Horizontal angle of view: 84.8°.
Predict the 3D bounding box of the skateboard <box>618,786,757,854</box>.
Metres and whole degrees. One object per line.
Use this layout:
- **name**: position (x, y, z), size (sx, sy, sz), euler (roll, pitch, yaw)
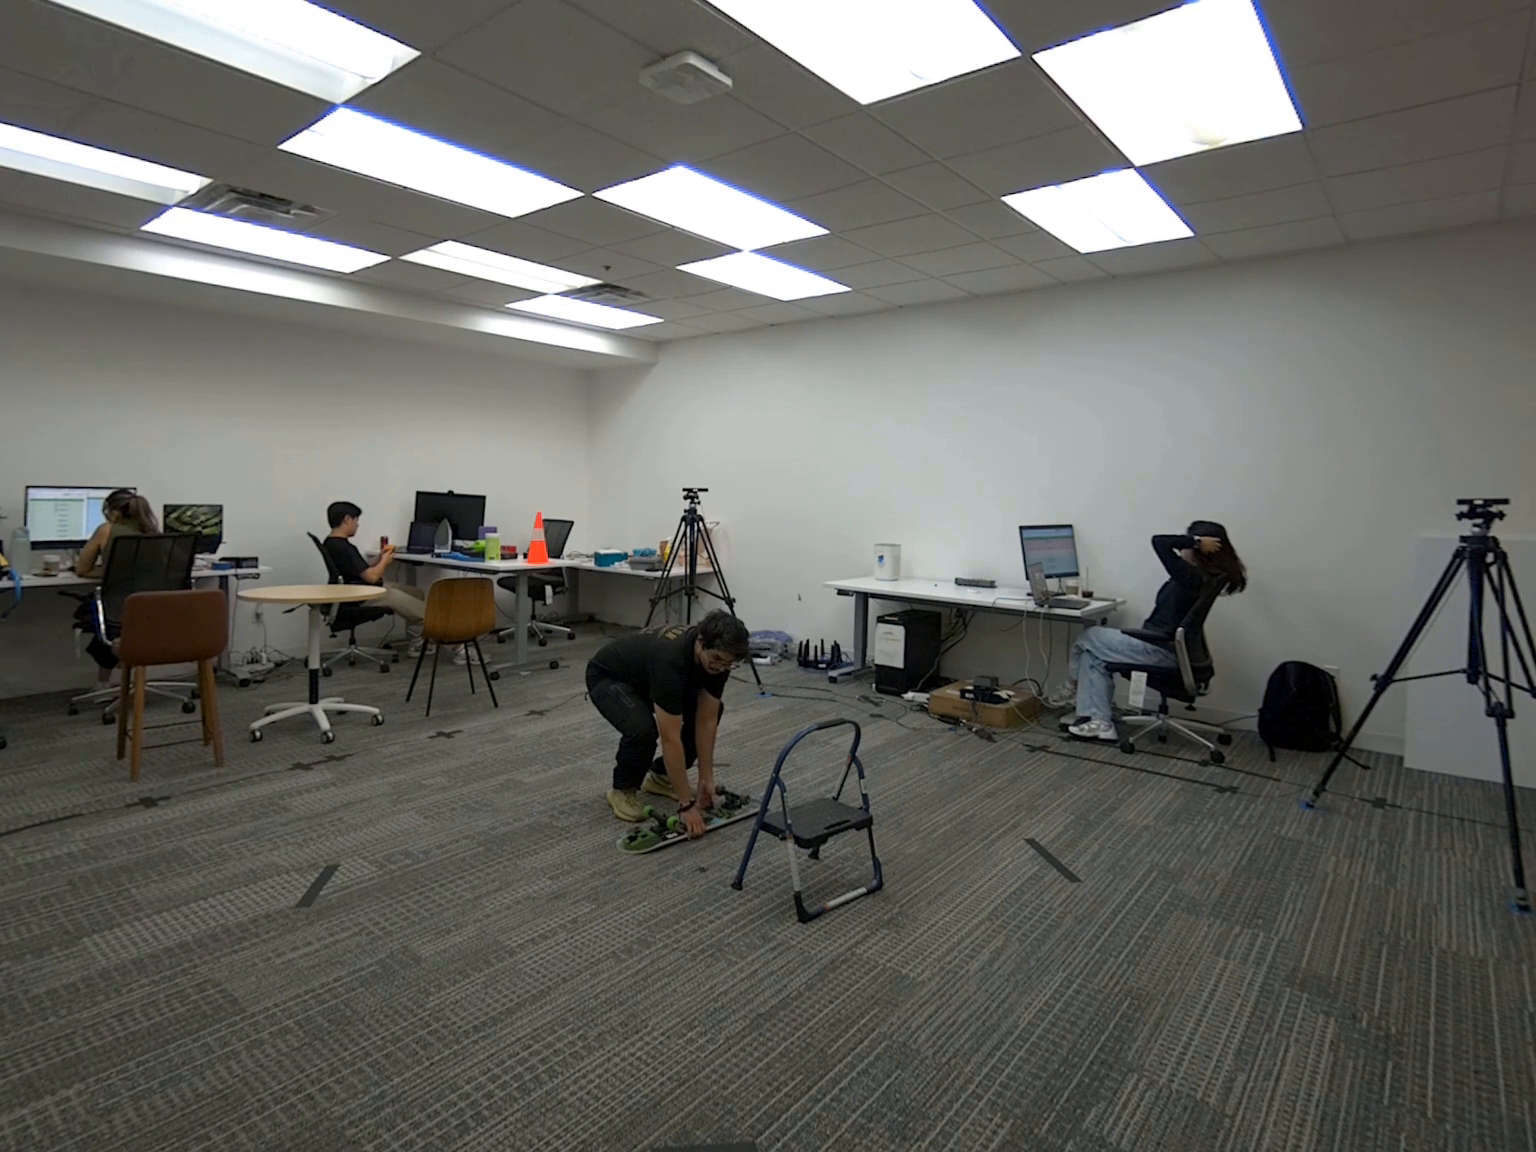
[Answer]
- **skateboard**: position (-0.298, 0.980, 3.518), size (0.200, 0.110, 0.762), euler (4, 7, 45)
